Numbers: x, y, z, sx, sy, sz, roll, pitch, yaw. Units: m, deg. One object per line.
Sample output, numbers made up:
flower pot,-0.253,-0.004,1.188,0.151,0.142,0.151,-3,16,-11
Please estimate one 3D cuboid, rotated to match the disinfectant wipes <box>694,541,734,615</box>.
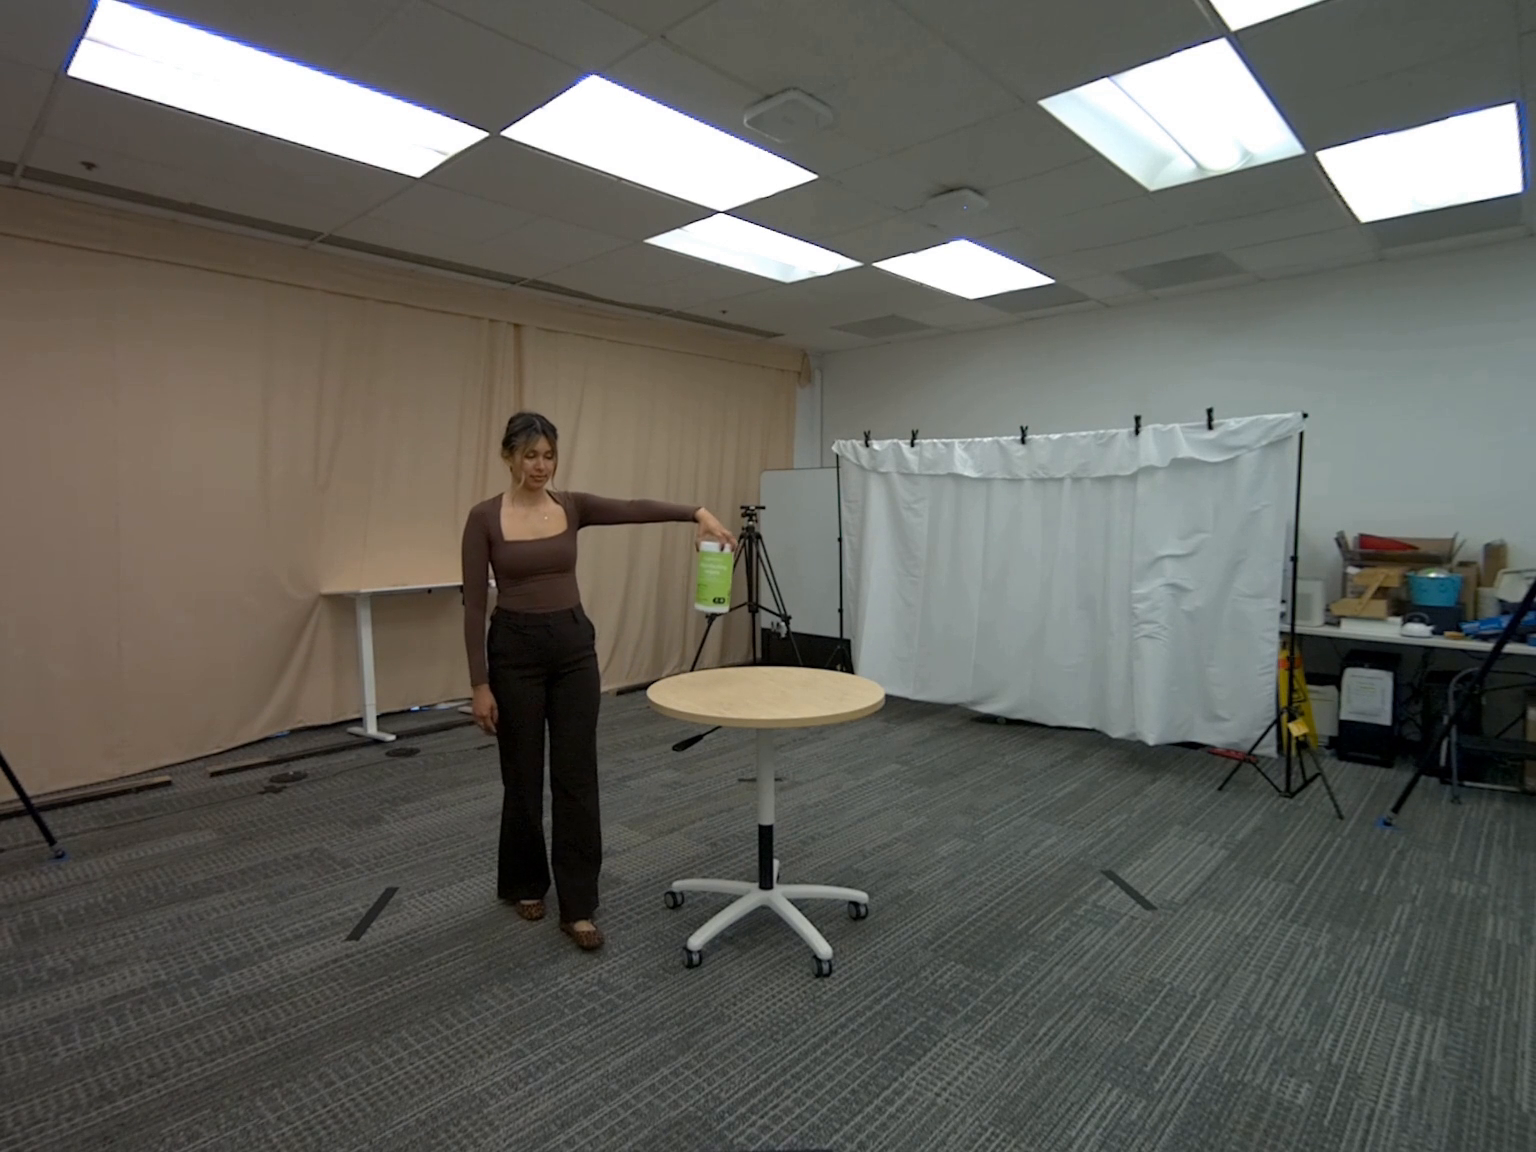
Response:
disinfectant wipes,-0.160,0.000,2.613,0.117,0.217,0.118,3,4,-2
